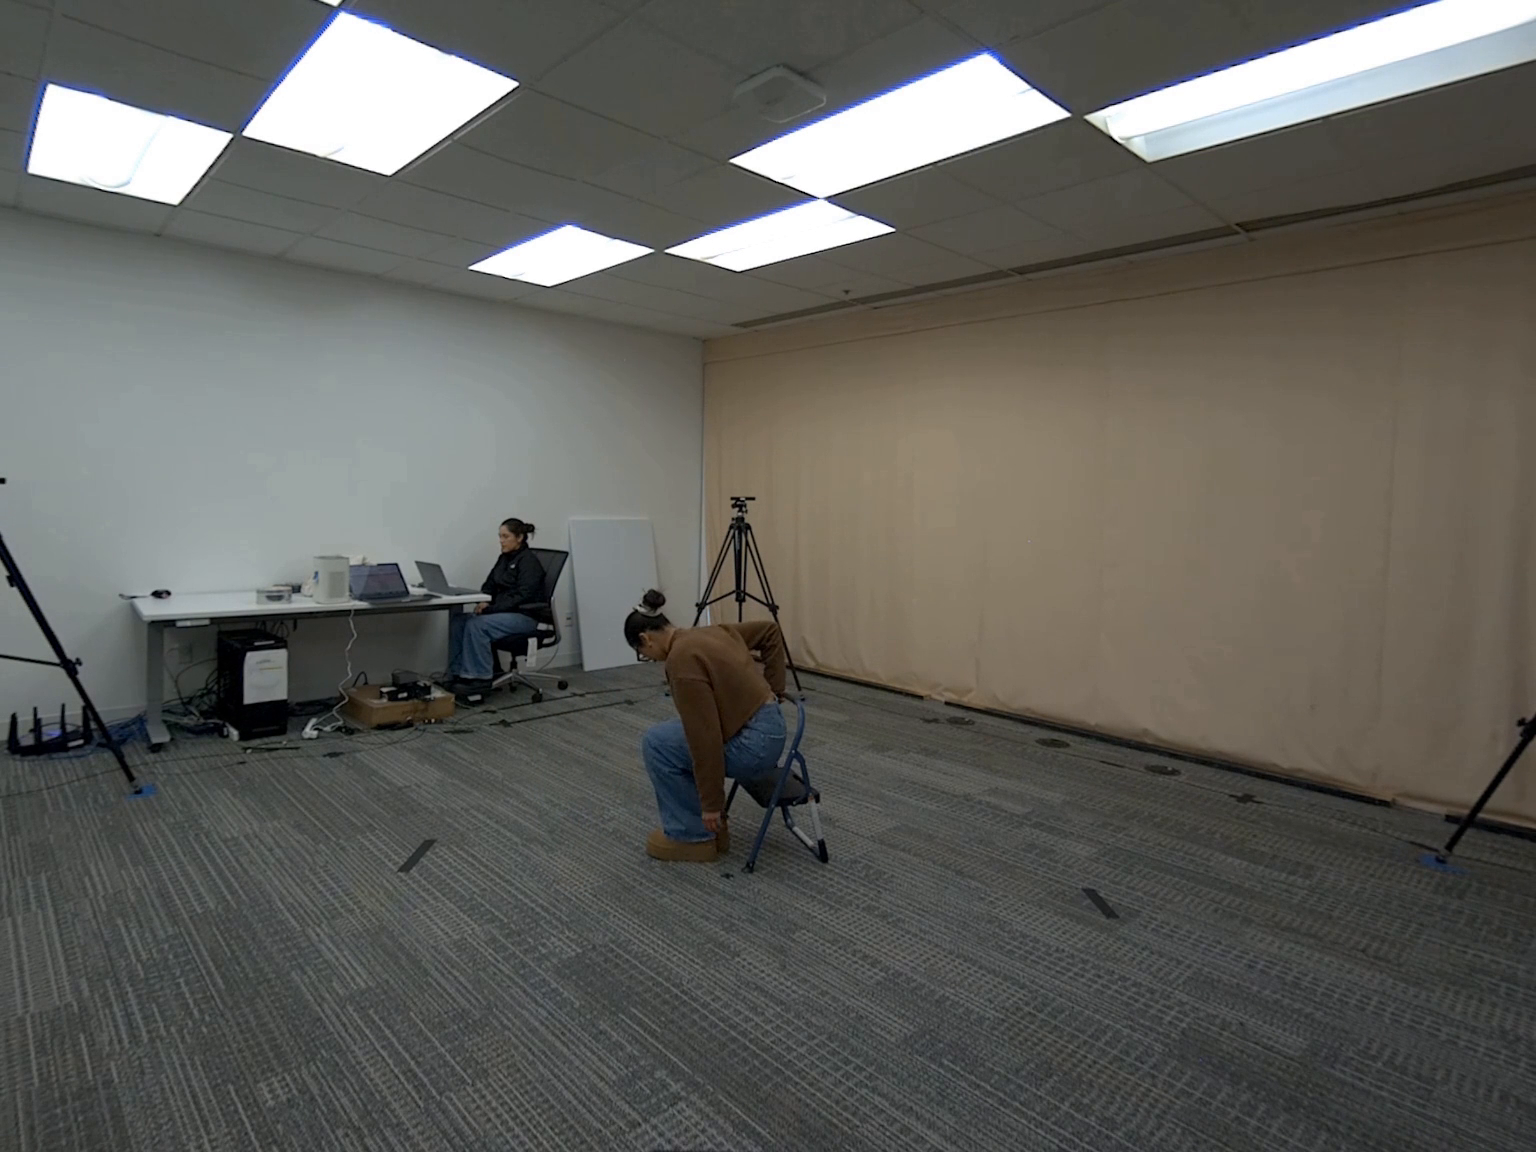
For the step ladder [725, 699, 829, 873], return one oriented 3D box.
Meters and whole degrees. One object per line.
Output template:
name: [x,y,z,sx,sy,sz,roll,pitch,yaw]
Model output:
step ladder: [0.004,0.788,3.365,0.344,0.605,0.438,0,3,-20]
